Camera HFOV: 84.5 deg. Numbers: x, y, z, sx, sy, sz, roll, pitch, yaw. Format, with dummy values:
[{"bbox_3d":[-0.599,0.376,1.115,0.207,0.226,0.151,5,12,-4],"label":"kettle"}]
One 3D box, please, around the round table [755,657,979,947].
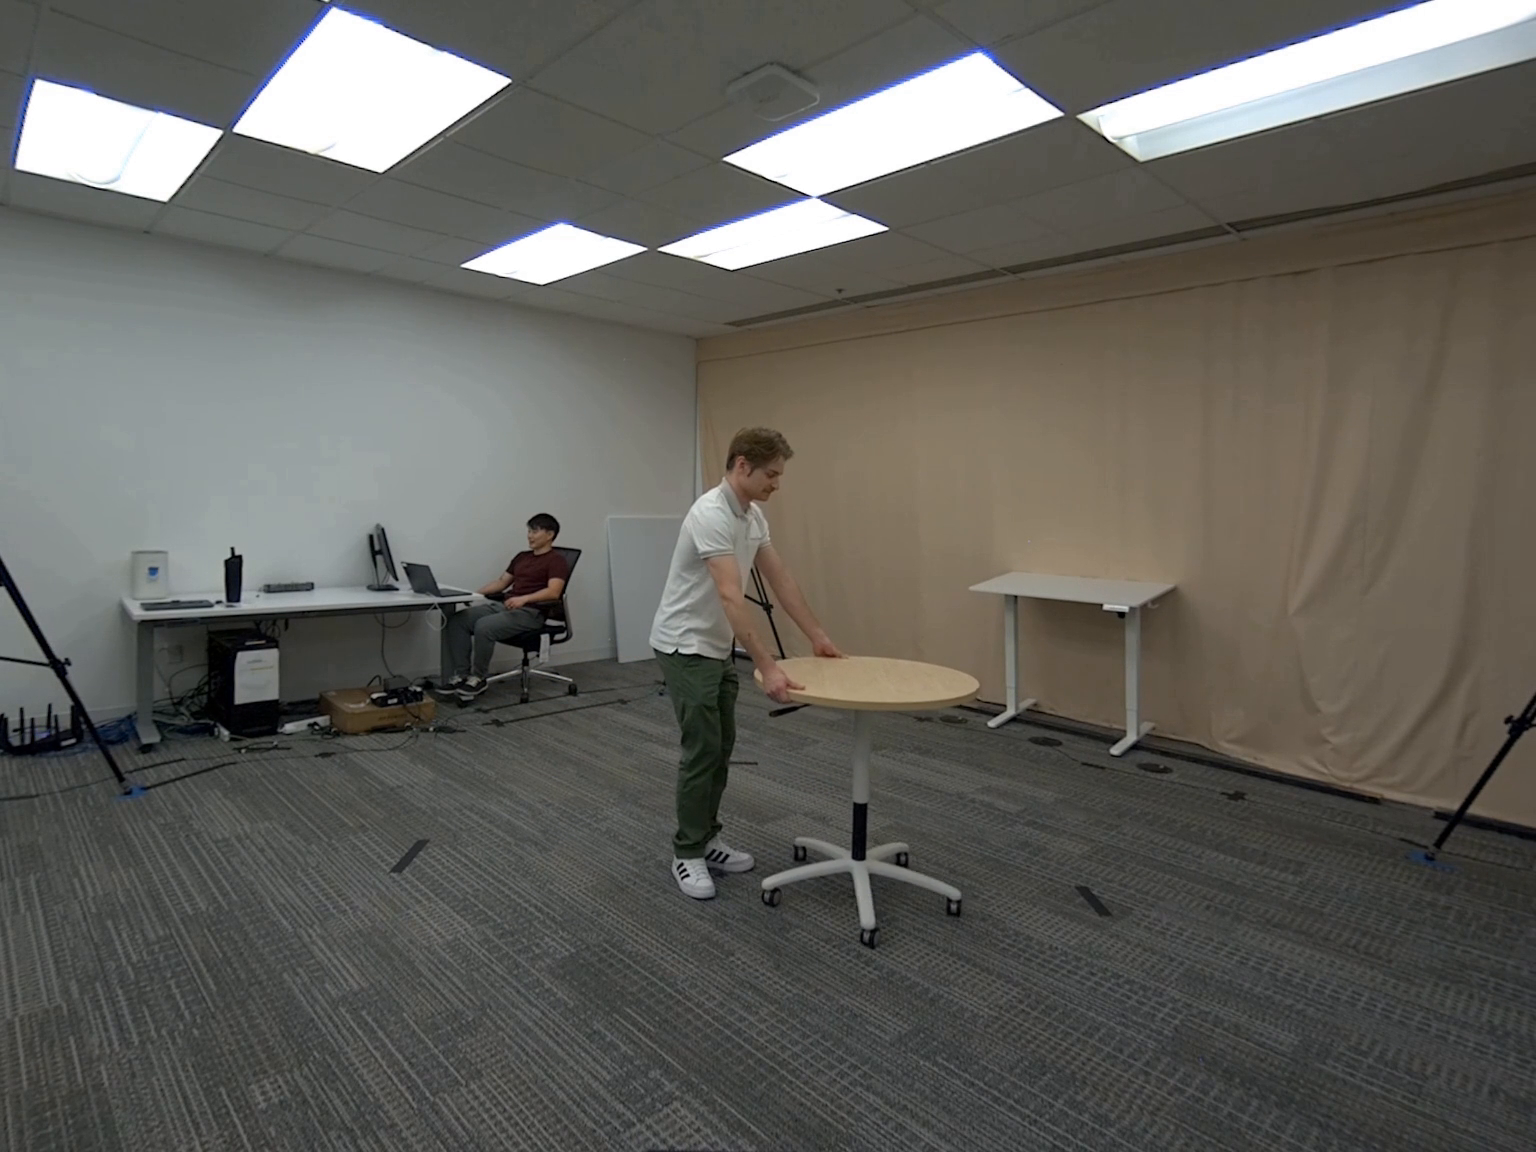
[{"bbox_3d":[0.314,0.739,2.932,0.763,0.792,0.767,1,4,-1],"label":"round table"}]
